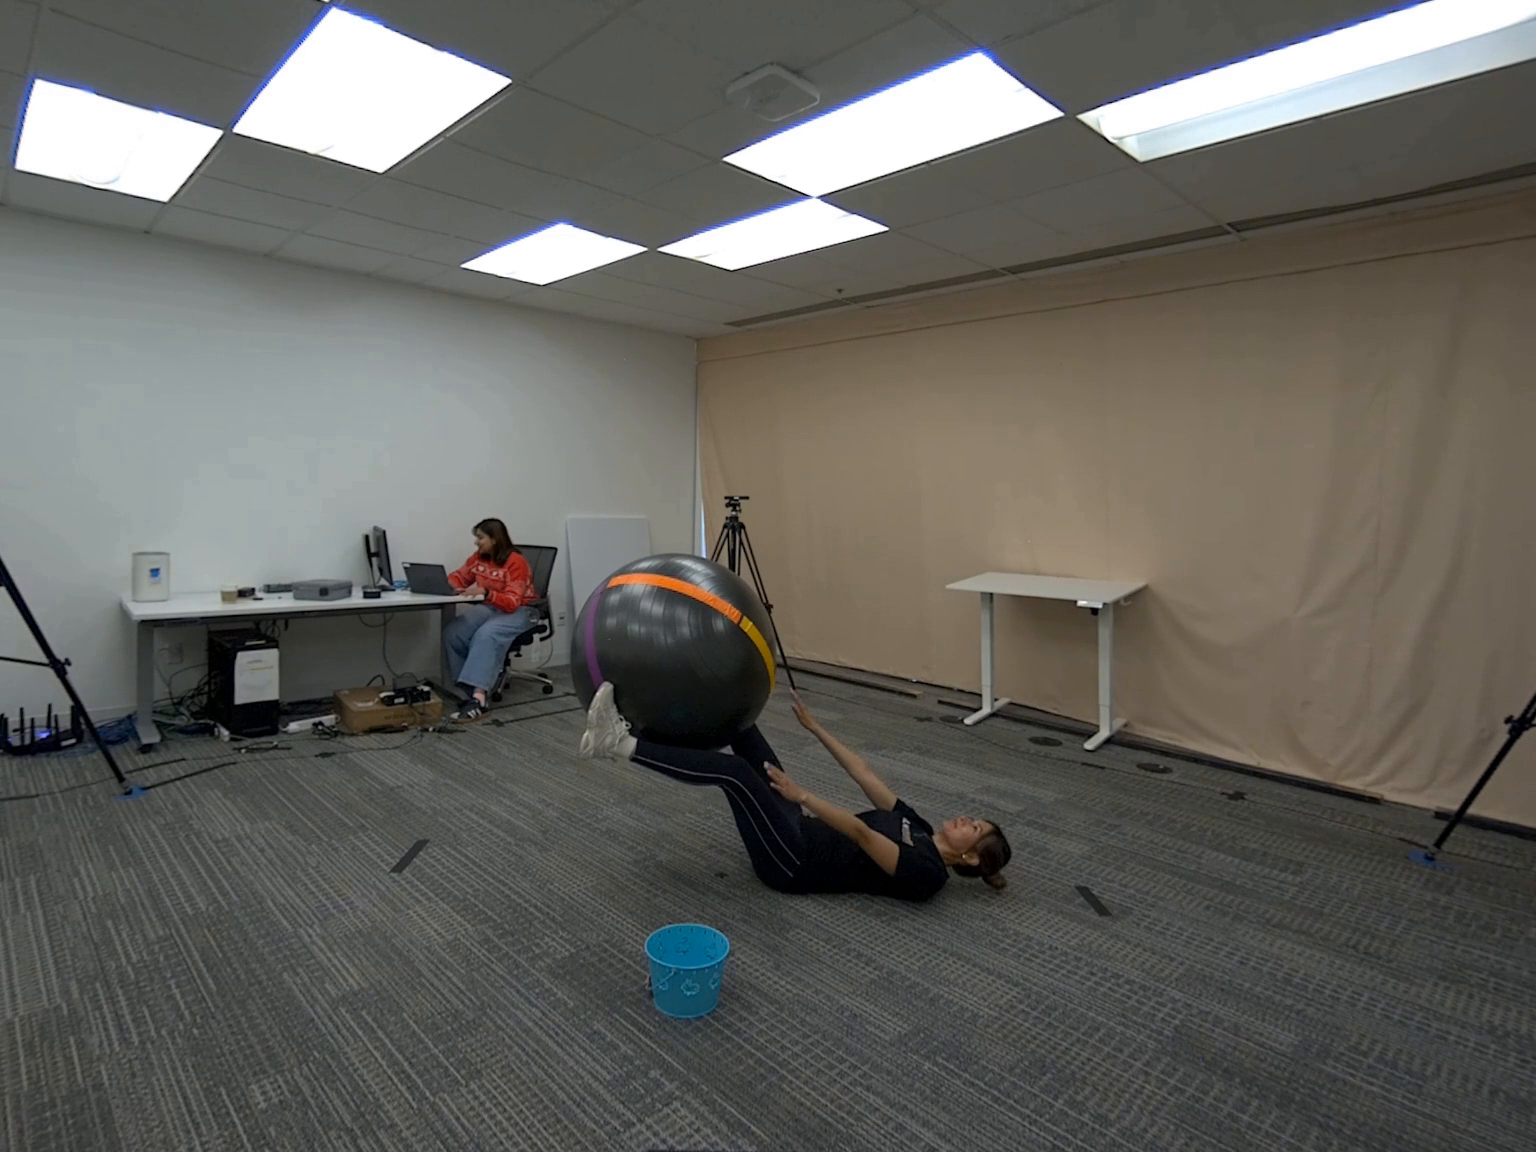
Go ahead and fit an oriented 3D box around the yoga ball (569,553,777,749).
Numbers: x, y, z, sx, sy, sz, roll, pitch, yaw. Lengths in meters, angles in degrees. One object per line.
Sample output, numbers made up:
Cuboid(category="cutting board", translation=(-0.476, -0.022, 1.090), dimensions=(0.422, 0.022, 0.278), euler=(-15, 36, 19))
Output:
Cuboid(category="yoga ball", translation=(-0.339, 0.296, 3.103), dimensions=(0.757, 0.756, 0.761), euler=(1, 4, -1))
